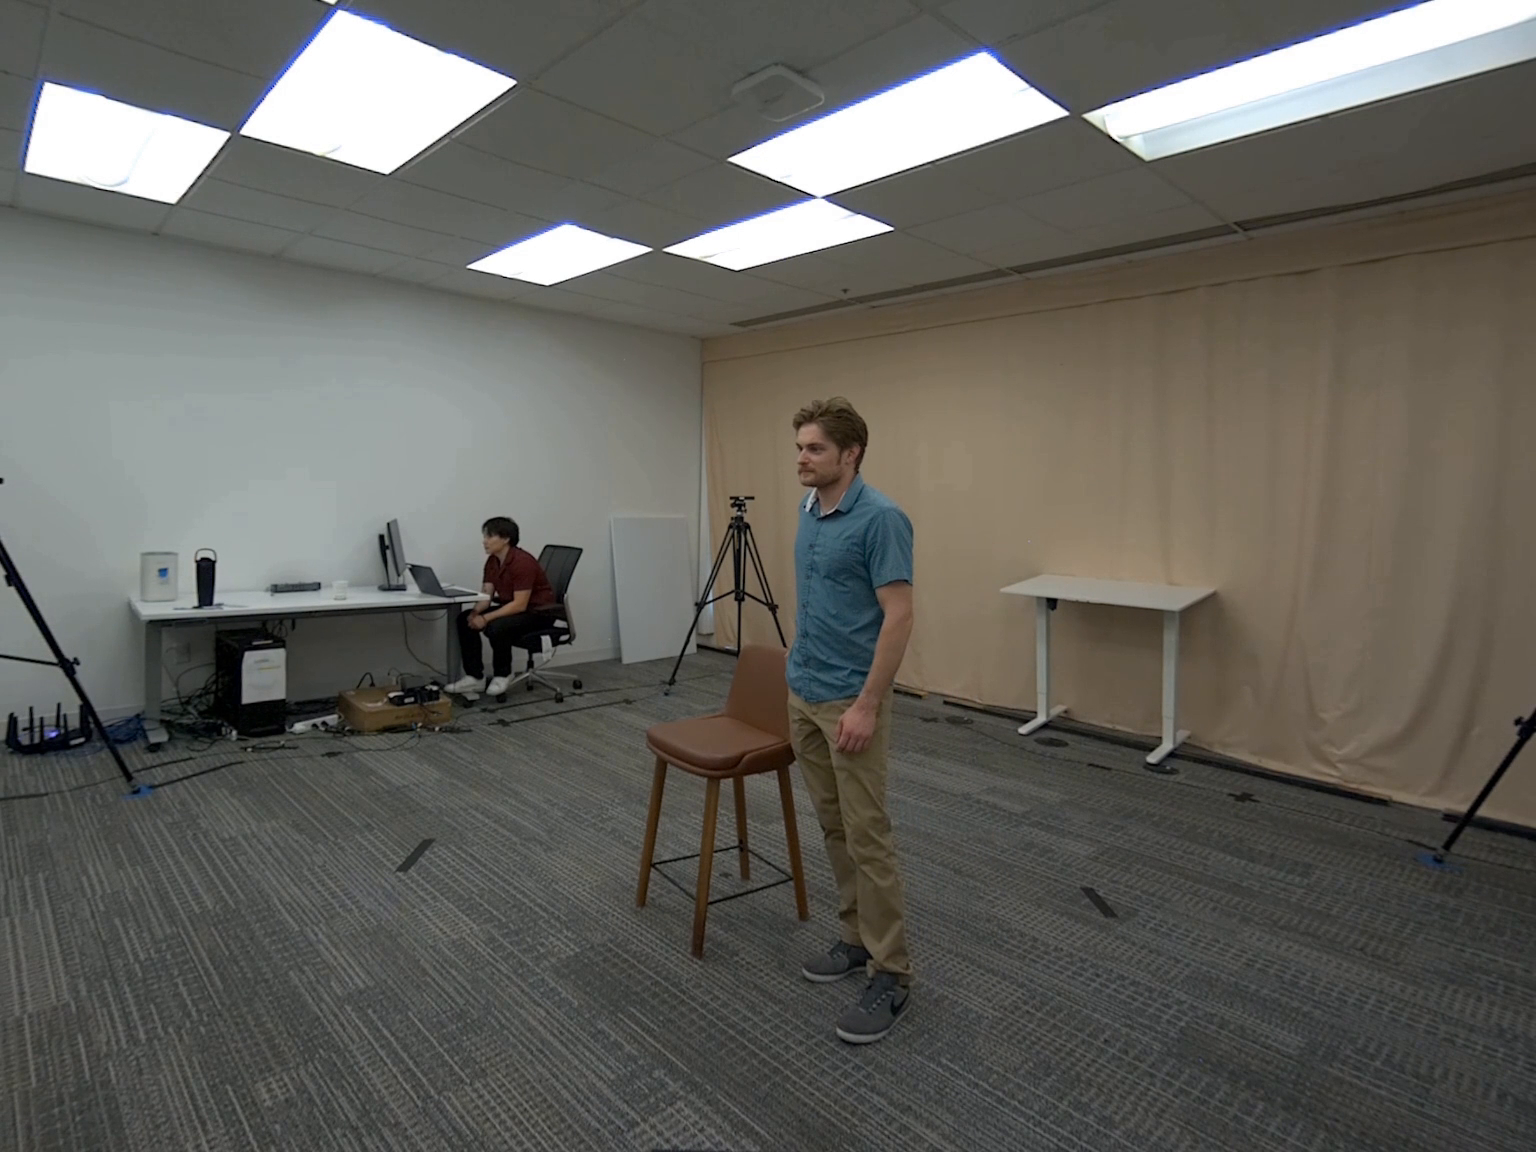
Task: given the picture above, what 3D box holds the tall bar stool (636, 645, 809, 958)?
[{"bbox_3d":[-0.143,0.698,2.804,0.457,0.888,0.467,1,3,-35],"label":"tall bar stool"}]
